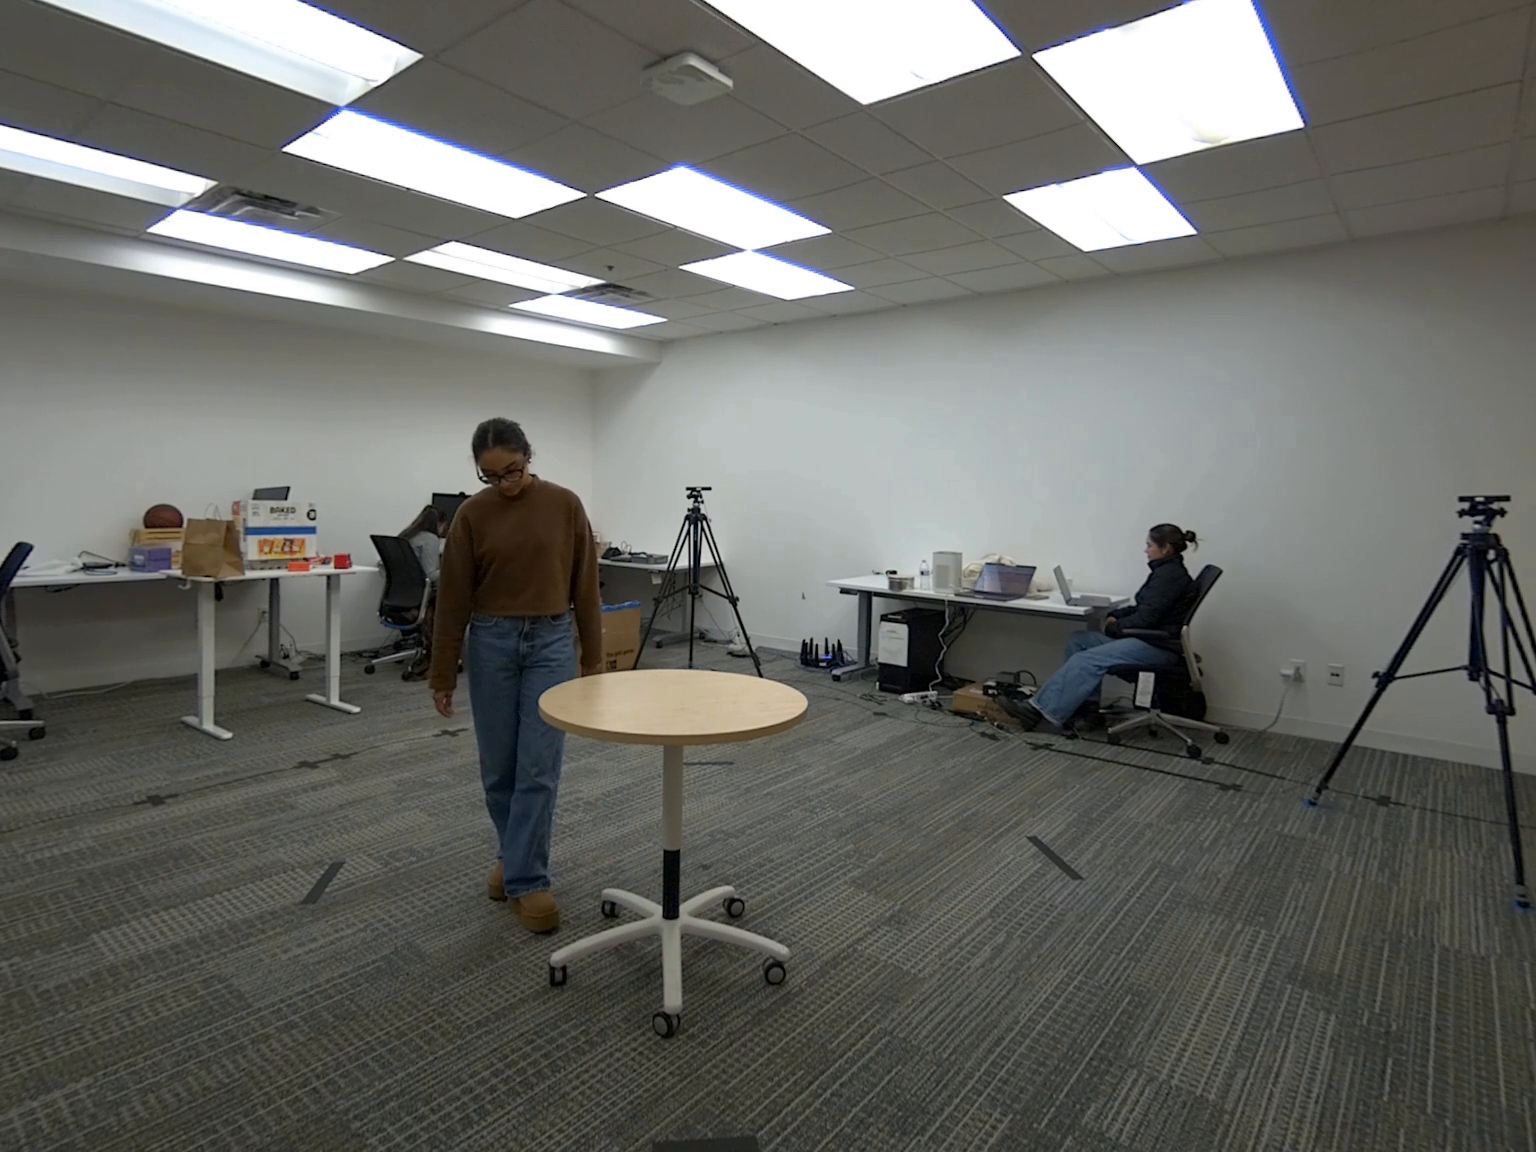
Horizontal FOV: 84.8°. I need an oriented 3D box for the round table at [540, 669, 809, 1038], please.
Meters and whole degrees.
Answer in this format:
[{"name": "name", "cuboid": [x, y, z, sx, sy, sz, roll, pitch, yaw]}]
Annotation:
[{"name": "round table", "cuboid": [-0.286, 0.738, 2.470, 0.763, 0.791, 0.768, 1, 4, -2]}]
